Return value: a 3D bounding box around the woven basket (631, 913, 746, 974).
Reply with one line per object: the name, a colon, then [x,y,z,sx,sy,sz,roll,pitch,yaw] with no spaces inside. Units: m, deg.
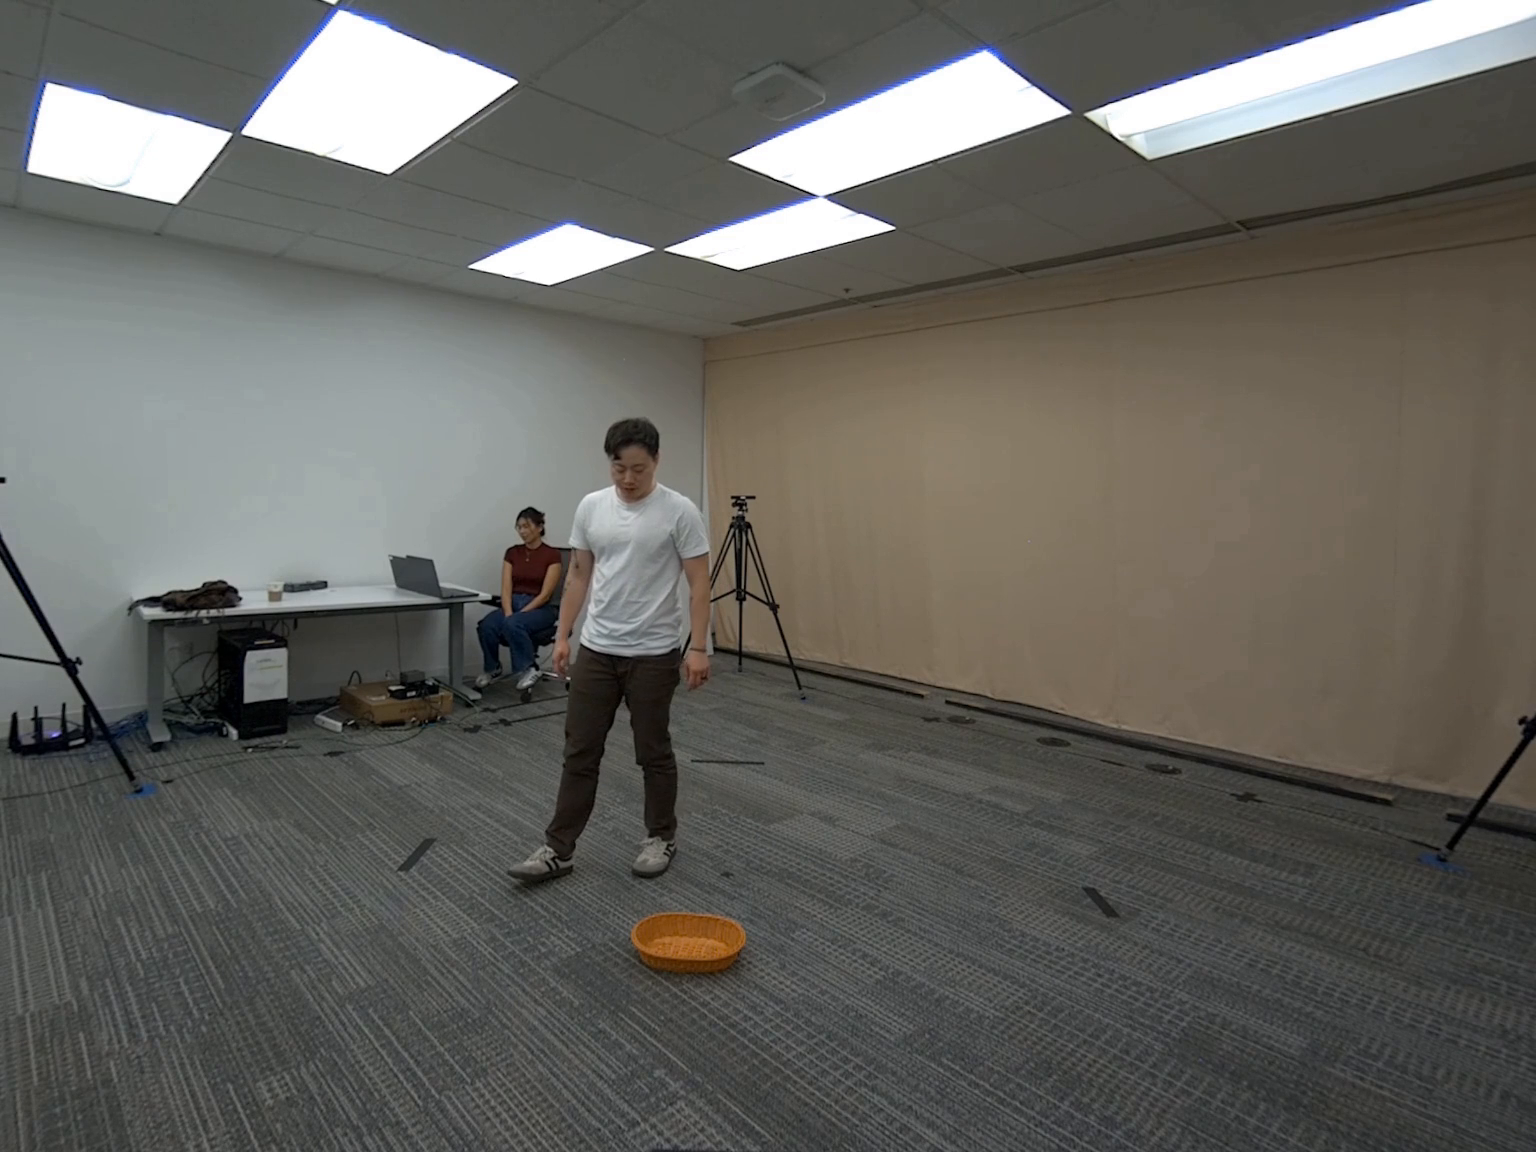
woven basket: [-0.246,1.116,2.539,0.352,0.073,0.252,1,6,5]
